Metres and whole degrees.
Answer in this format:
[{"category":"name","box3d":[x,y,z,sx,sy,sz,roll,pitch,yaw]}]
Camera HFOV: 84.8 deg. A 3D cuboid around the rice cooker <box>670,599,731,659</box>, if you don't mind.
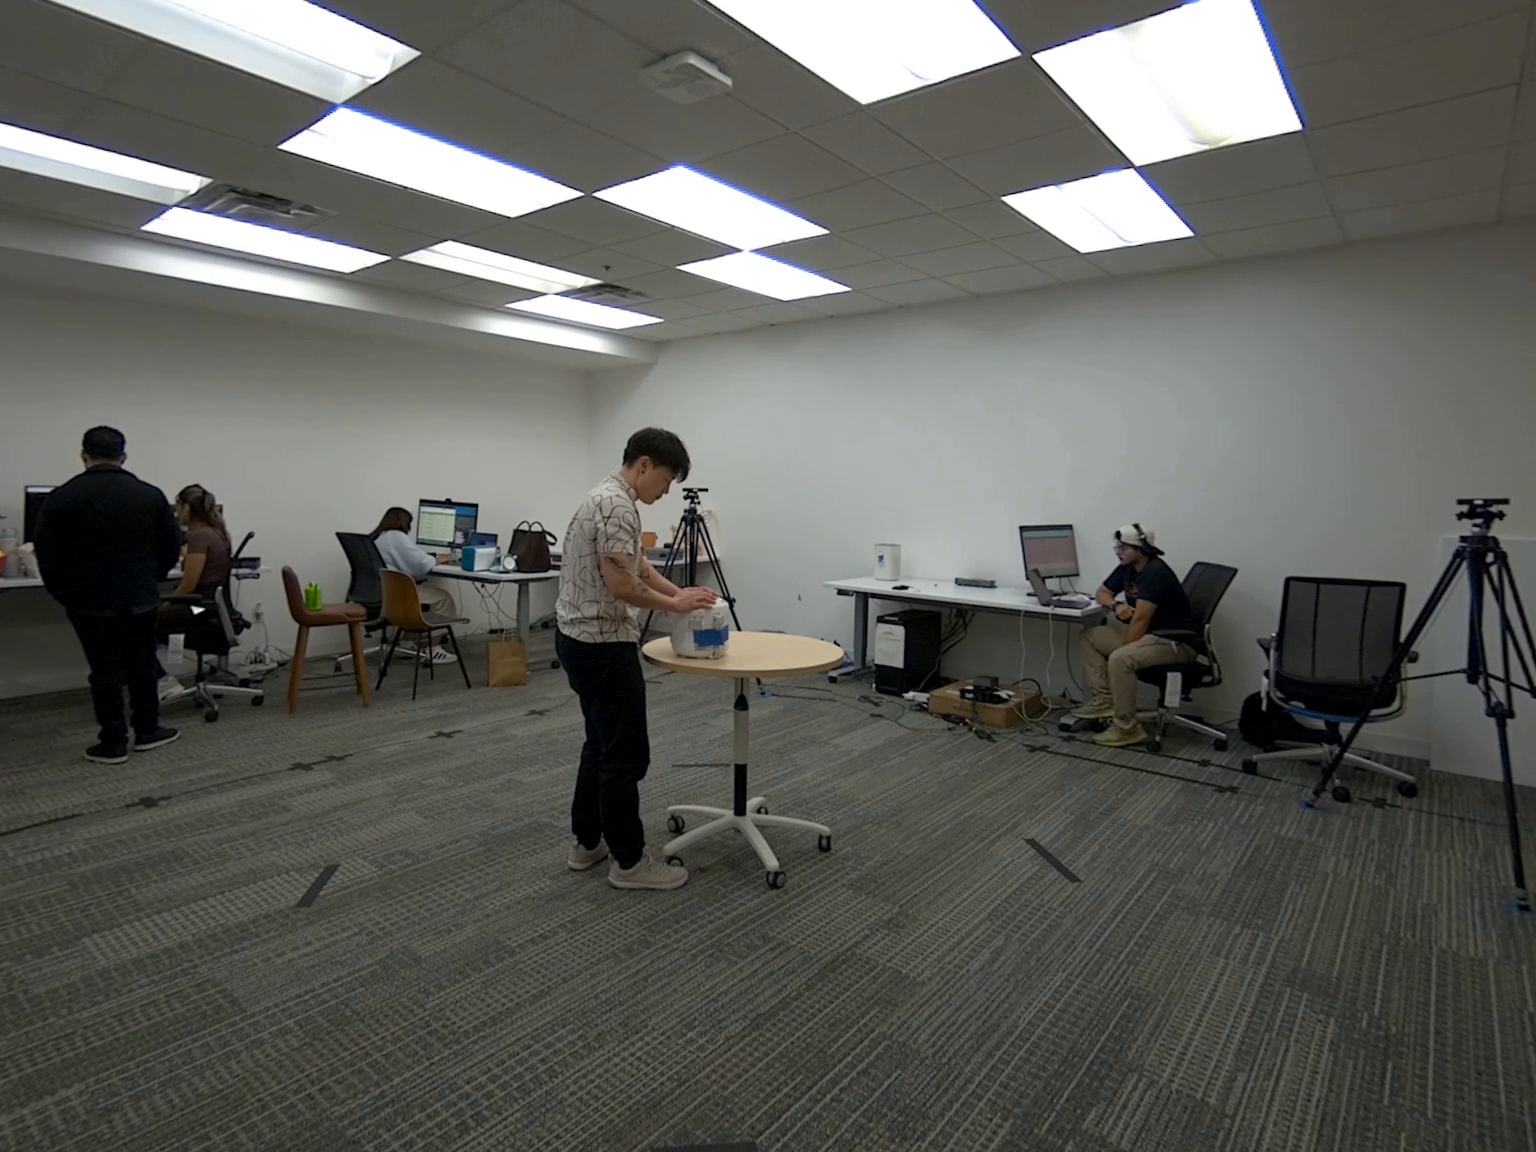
[{"category":"rice cooker","box3d":[-0.261,0.174,3.113,0.219,0.232,0.219,2,4,7]}]
